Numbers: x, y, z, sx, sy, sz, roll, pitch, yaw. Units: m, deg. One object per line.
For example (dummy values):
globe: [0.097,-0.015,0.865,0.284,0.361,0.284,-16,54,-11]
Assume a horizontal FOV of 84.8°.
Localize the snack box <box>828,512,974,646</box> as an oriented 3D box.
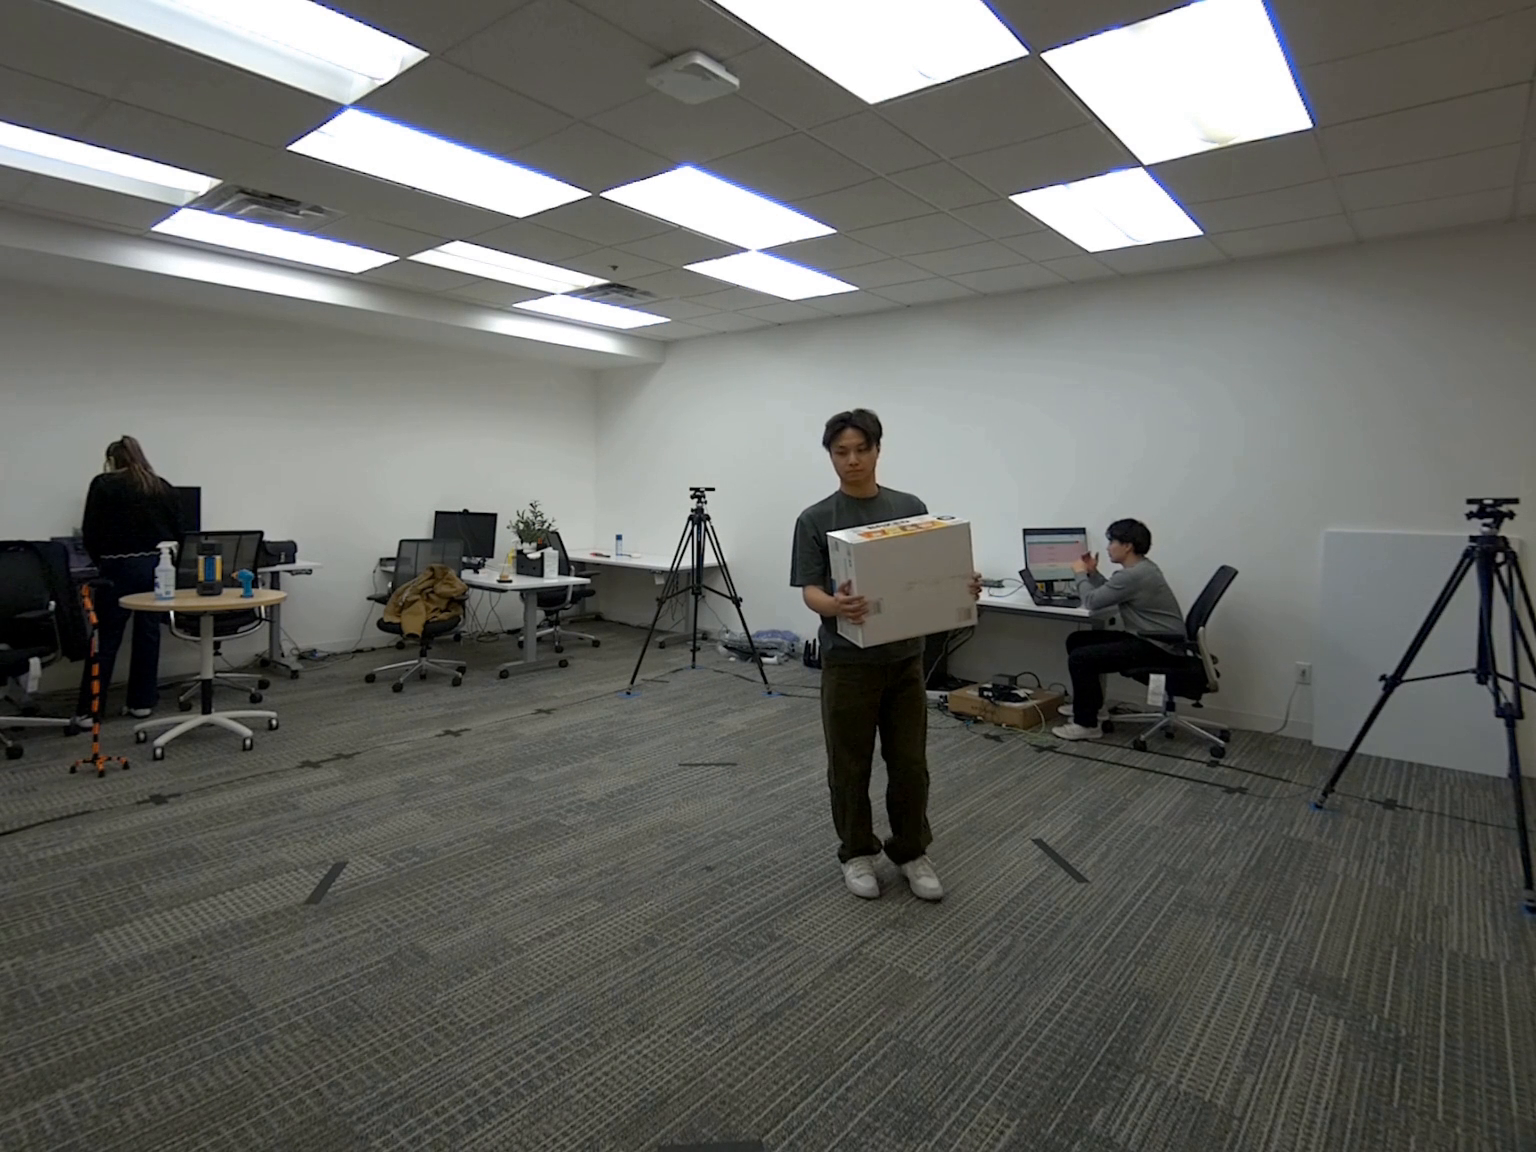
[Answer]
snack box: [0.420,-0.001,2.736,0.400,0.337,0.210,-9,10,-15]
